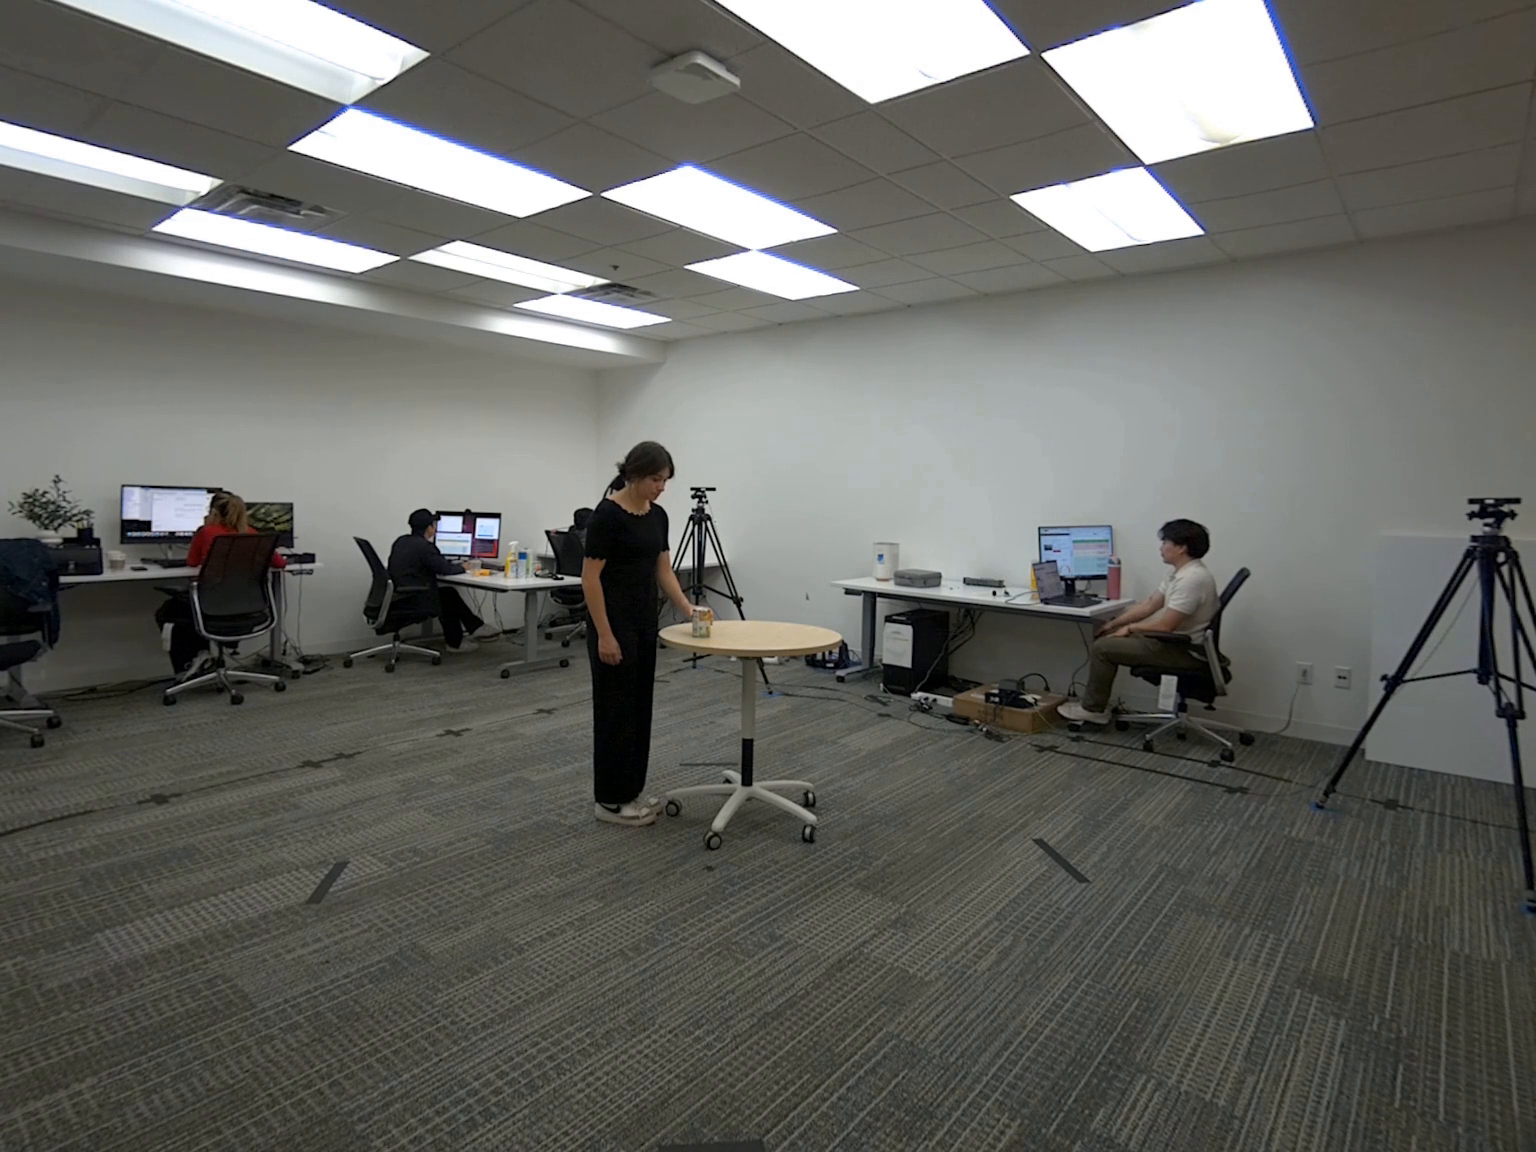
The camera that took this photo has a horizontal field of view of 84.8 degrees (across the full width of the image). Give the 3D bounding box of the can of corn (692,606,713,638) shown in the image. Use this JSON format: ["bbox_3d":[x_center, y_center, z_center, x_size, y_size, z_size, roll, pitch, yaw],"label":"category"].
[{"bbox_3d":[-0.284,0.193,3.474,0.074,0.111,0.074,-4,3,-2],"label":"can of corn"}]
